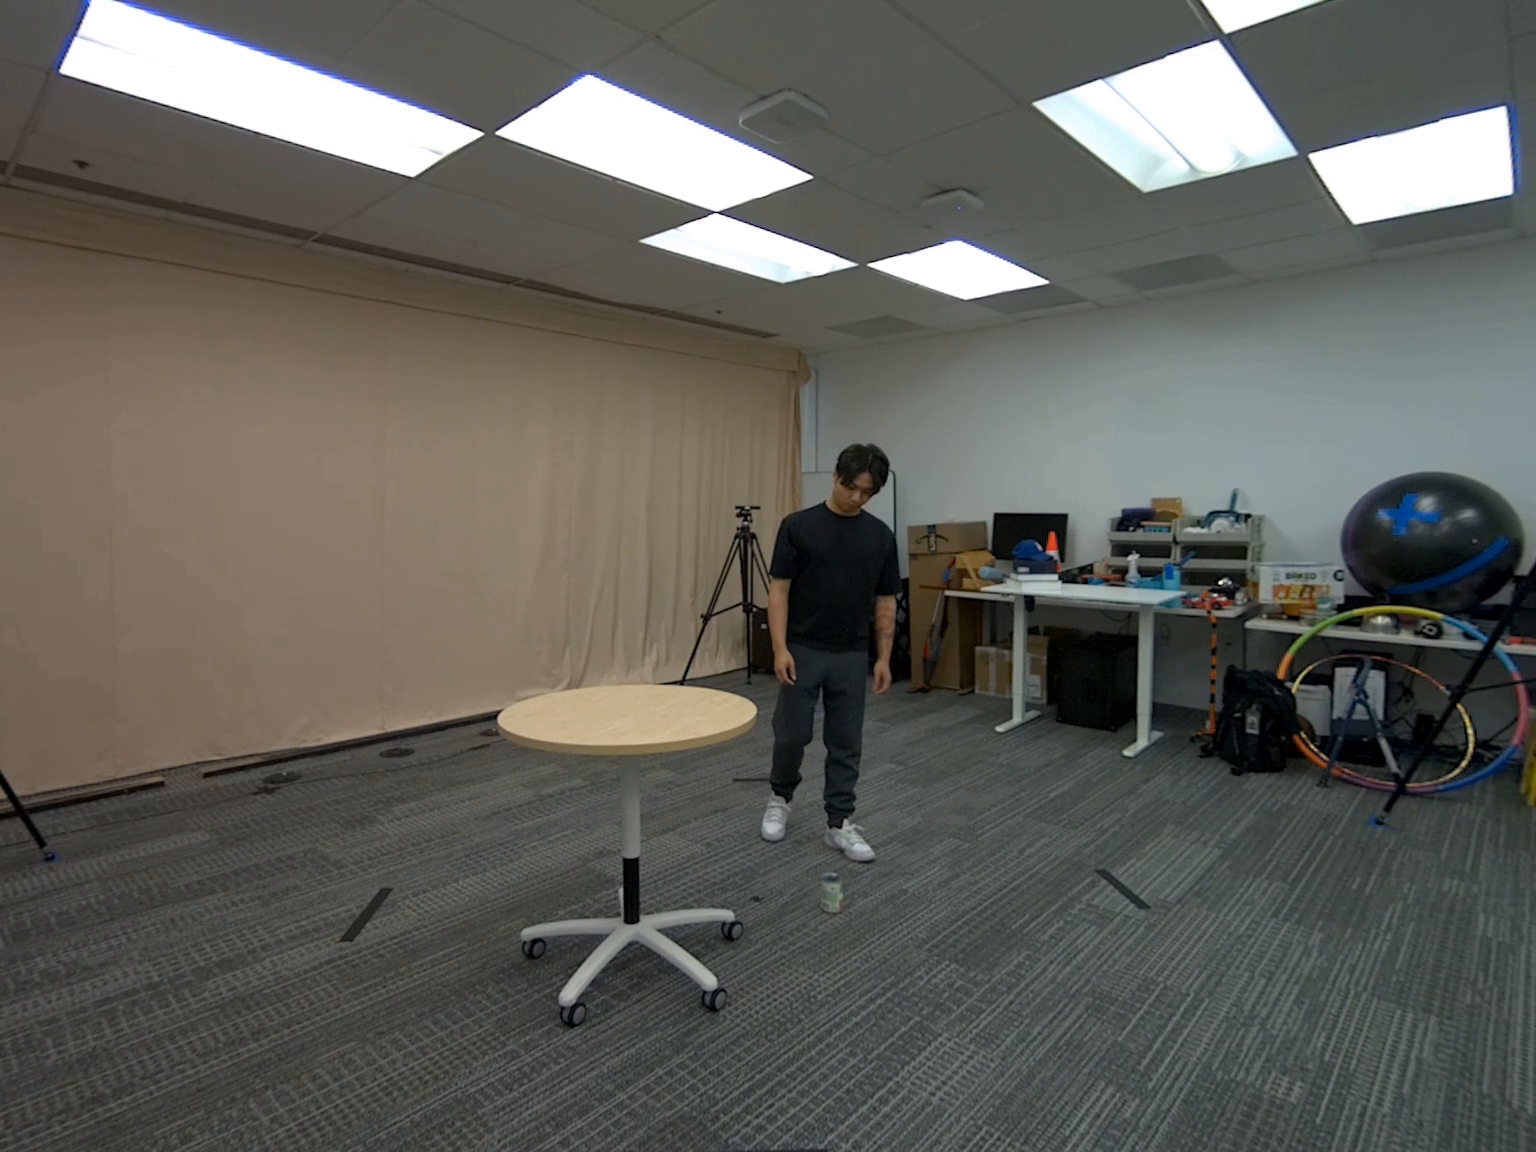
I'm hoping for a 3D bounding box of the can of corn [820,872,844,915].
[{"bbox_3d":[0.221,1.095,2.902,0.074,0.111,0.074,-1,2,-2],"label":"can of corn"}]
